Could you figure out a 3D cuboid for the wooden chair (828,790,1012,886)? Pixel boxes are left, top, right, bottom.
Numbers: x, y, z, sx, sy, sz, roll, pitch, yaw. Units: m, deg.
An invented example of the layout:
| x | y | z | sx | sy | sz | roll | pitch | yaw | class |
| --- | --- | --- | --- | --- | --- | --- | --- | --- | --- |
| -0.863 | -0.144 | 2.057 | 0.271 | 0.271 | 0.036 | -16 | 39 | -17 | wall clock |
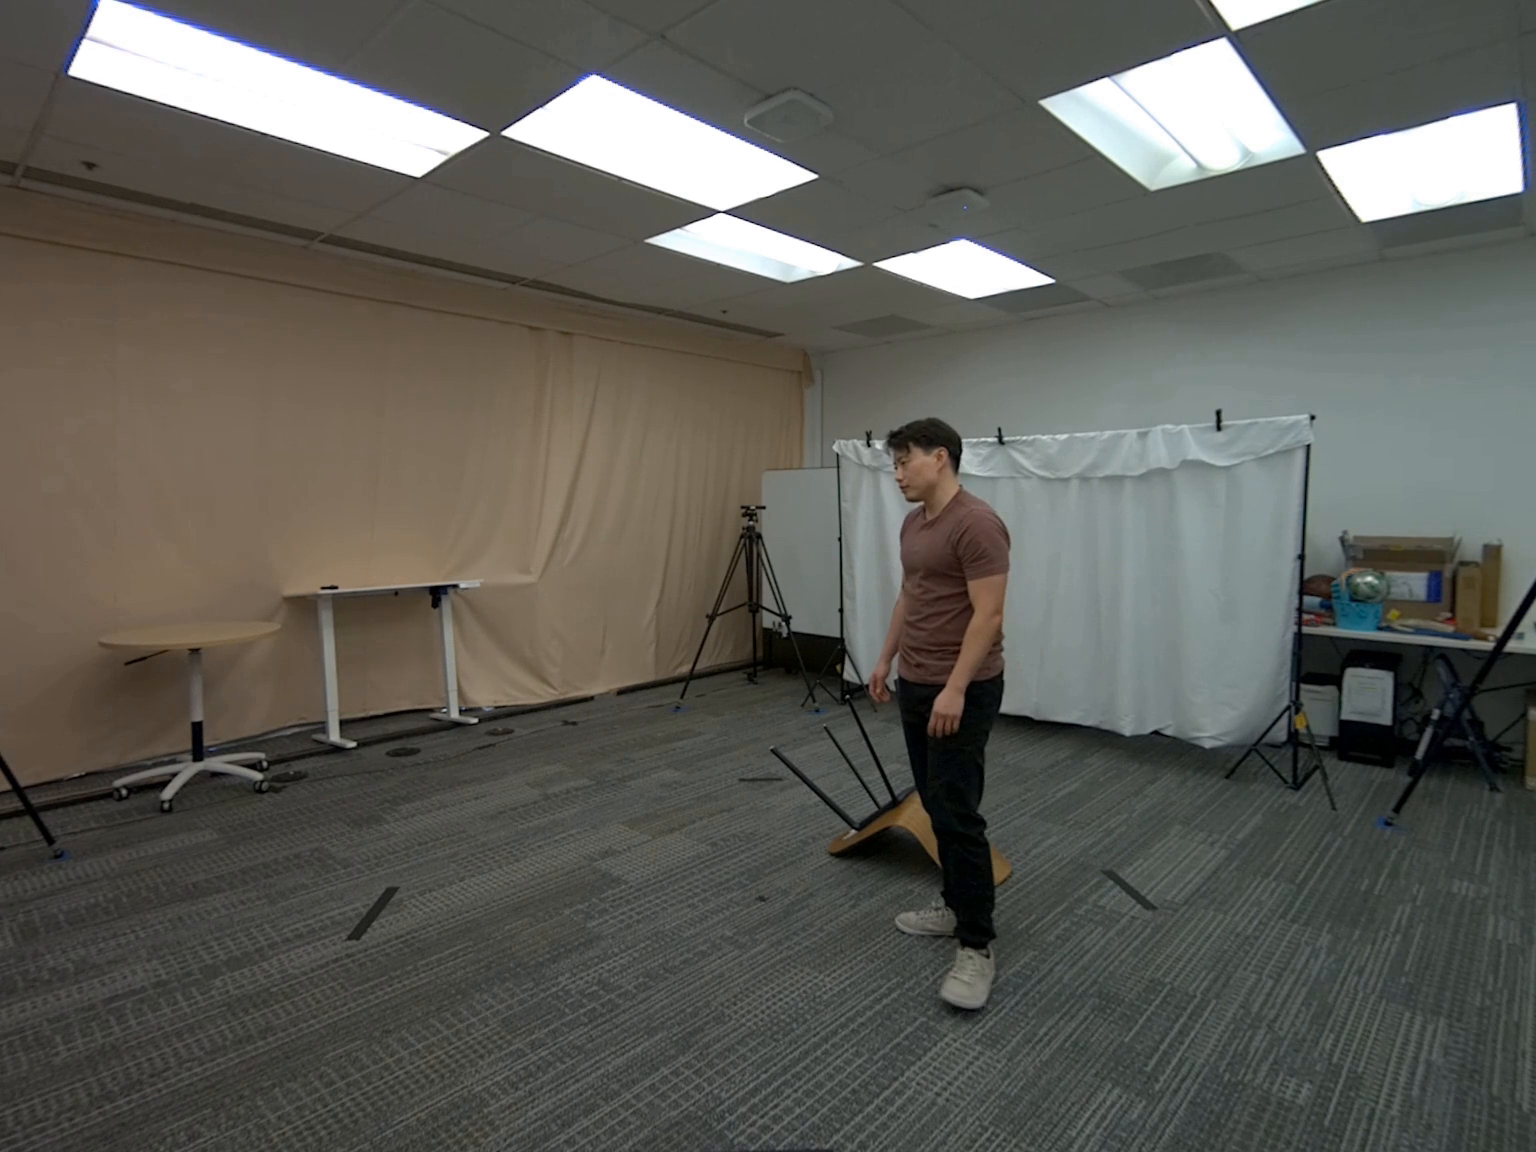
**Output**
| x | y | z | sx | sy | sz | roll | pitch | yaw | class |
| --- | --- | --- | --- | --- | --- | --- | --- | --- | --- |
| 0.490 | 0.935 | 3.409 | 0.527 | 0.897 | 0.464 | -45 | -22 | 28 | wooden chair |
